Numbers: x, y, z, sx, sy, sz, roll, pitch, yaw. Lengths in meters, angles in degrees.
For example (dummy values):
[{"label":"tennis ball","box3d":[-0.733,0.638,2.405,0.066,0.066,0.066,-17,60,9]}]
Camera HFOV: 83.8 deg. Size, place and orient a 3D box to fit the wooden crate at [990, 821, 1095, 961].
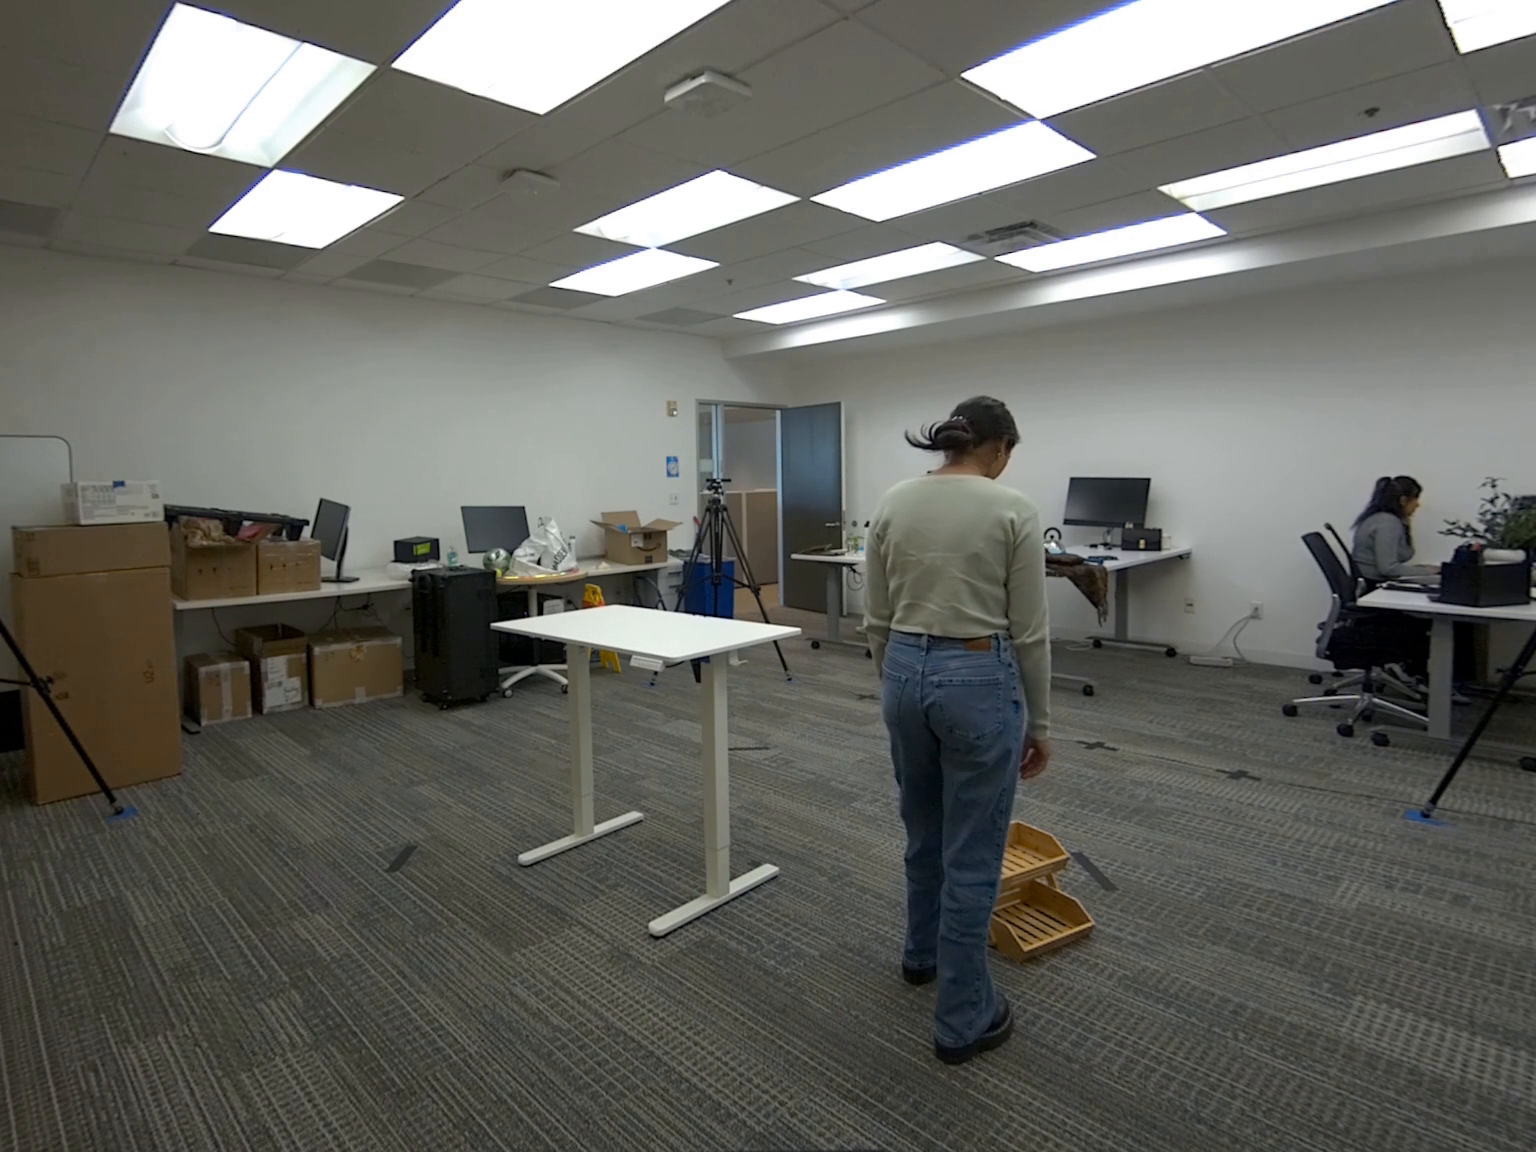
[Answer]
[{"label":"wooden crate","box3d":[0.781,0.953,2.610,0.317,0.272,0.310,-5,6,-30]}]
